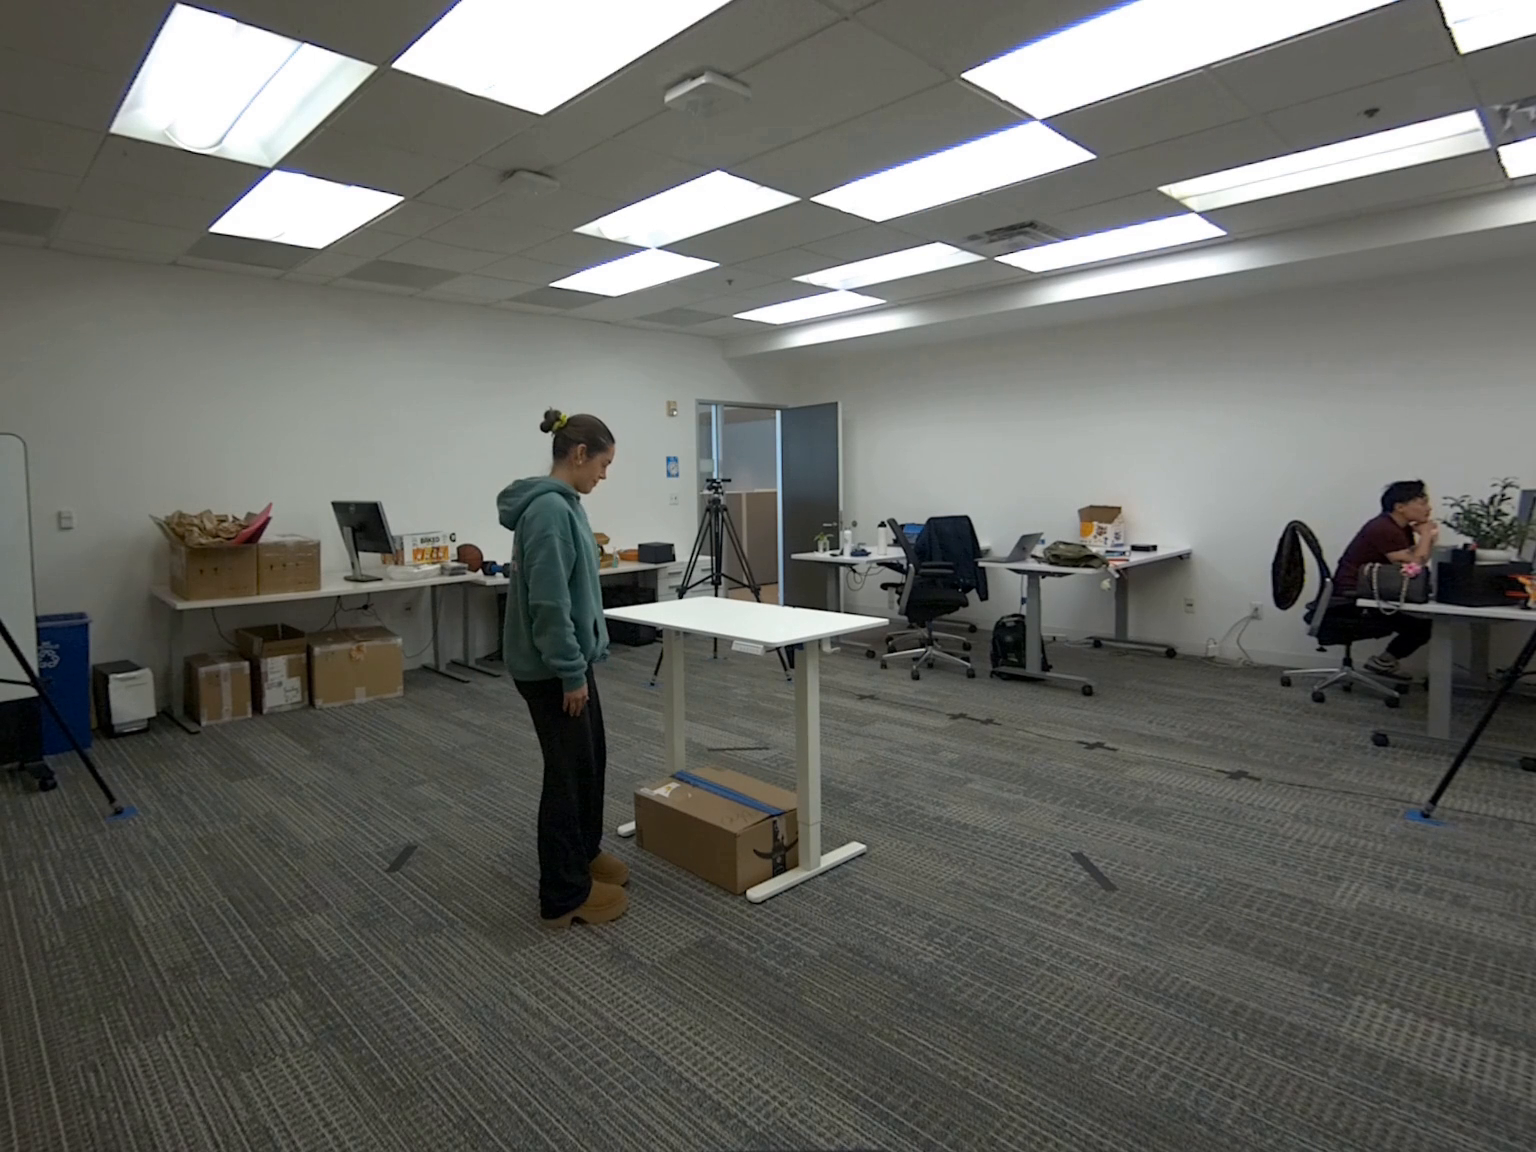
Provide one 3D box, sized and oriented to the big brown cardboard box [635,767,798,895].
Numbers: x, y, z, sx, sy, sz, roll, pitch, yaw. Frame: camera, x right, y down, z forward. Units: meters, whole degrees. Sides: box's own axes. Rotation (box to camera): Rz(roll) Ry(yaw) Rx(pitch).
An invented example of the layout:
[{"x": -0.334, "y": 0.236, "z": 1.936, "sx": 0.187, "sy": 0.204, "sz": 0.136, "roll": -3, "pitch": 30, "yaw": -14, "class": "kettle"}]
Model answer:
[{"x": -0.164, "y": 0.924, "z": 3.194, "sx": 0.406, "sy": 0.232, "sz": 0.607, "roll": -6, "pitch": 9, "yaw": -45, "class": "big brown cardboard box"}]
